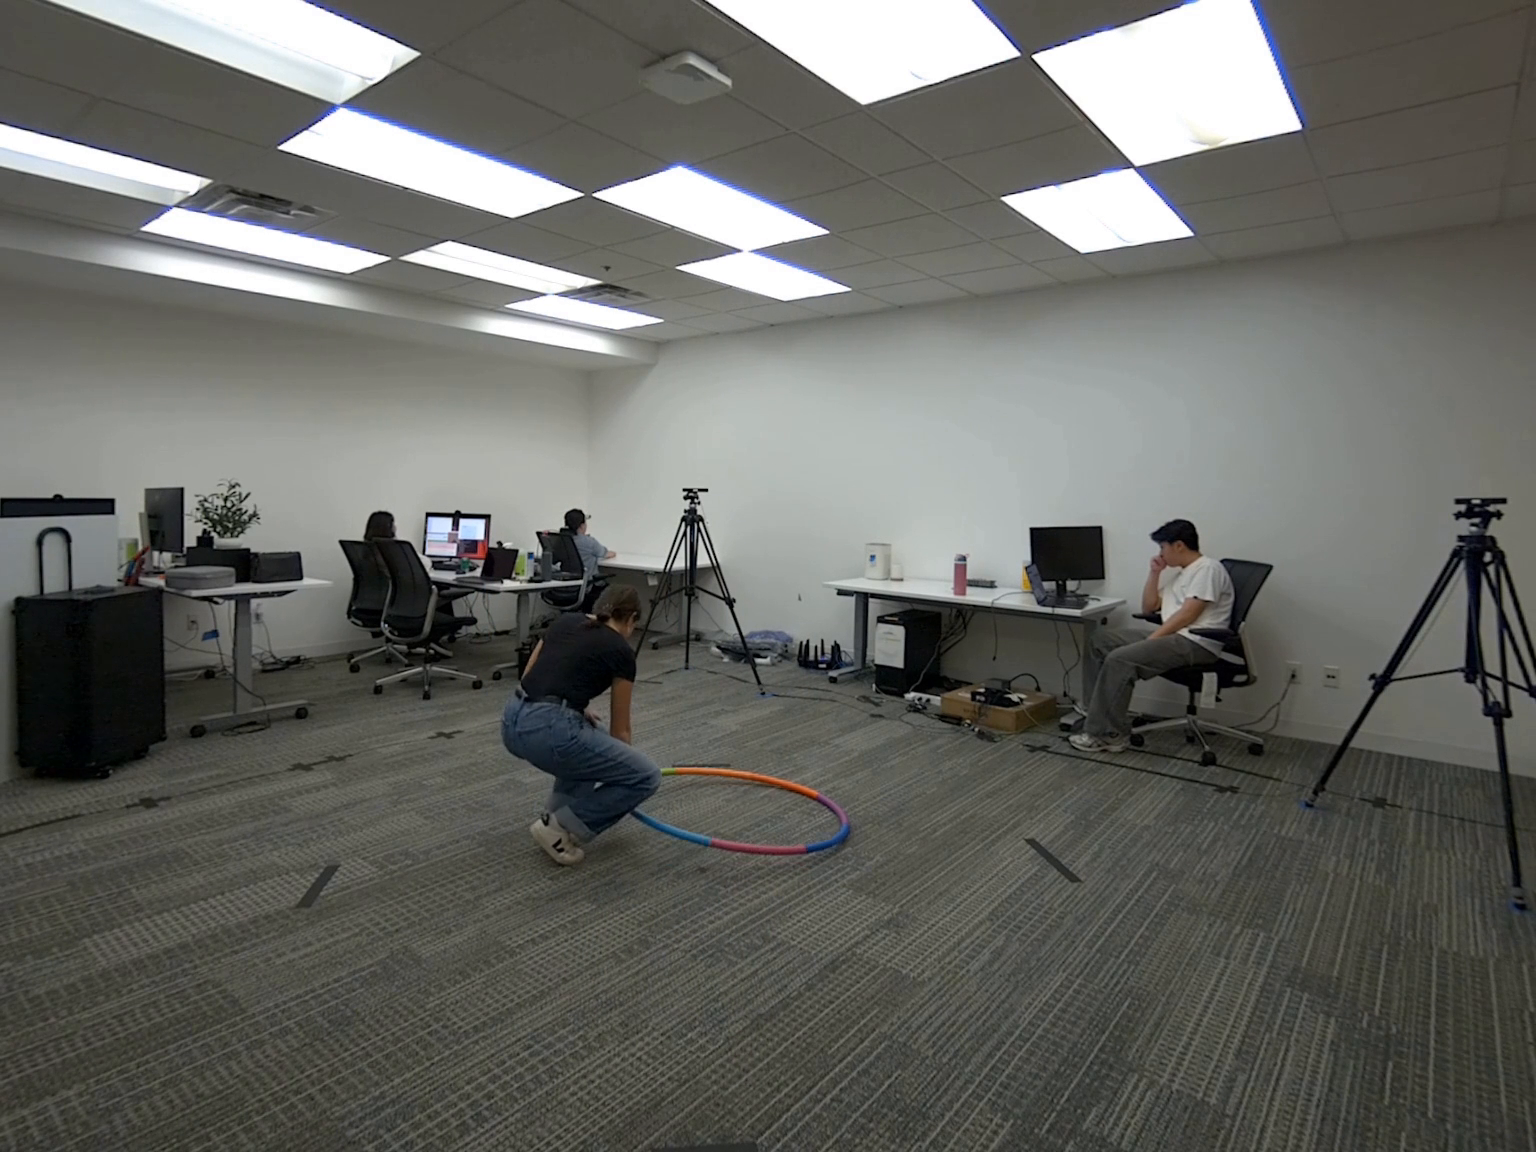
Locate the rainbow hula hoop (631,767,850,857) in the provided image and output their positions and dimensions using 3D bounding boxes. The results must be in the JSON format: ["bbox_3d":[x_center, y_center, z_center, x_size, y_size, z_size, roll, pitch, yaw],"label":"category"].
[{"bbox_3d":[-0.142,0.944,3.567,0.978,0.035,0.981,7,2,-2],"label":"rainbow hula hoop"}]
